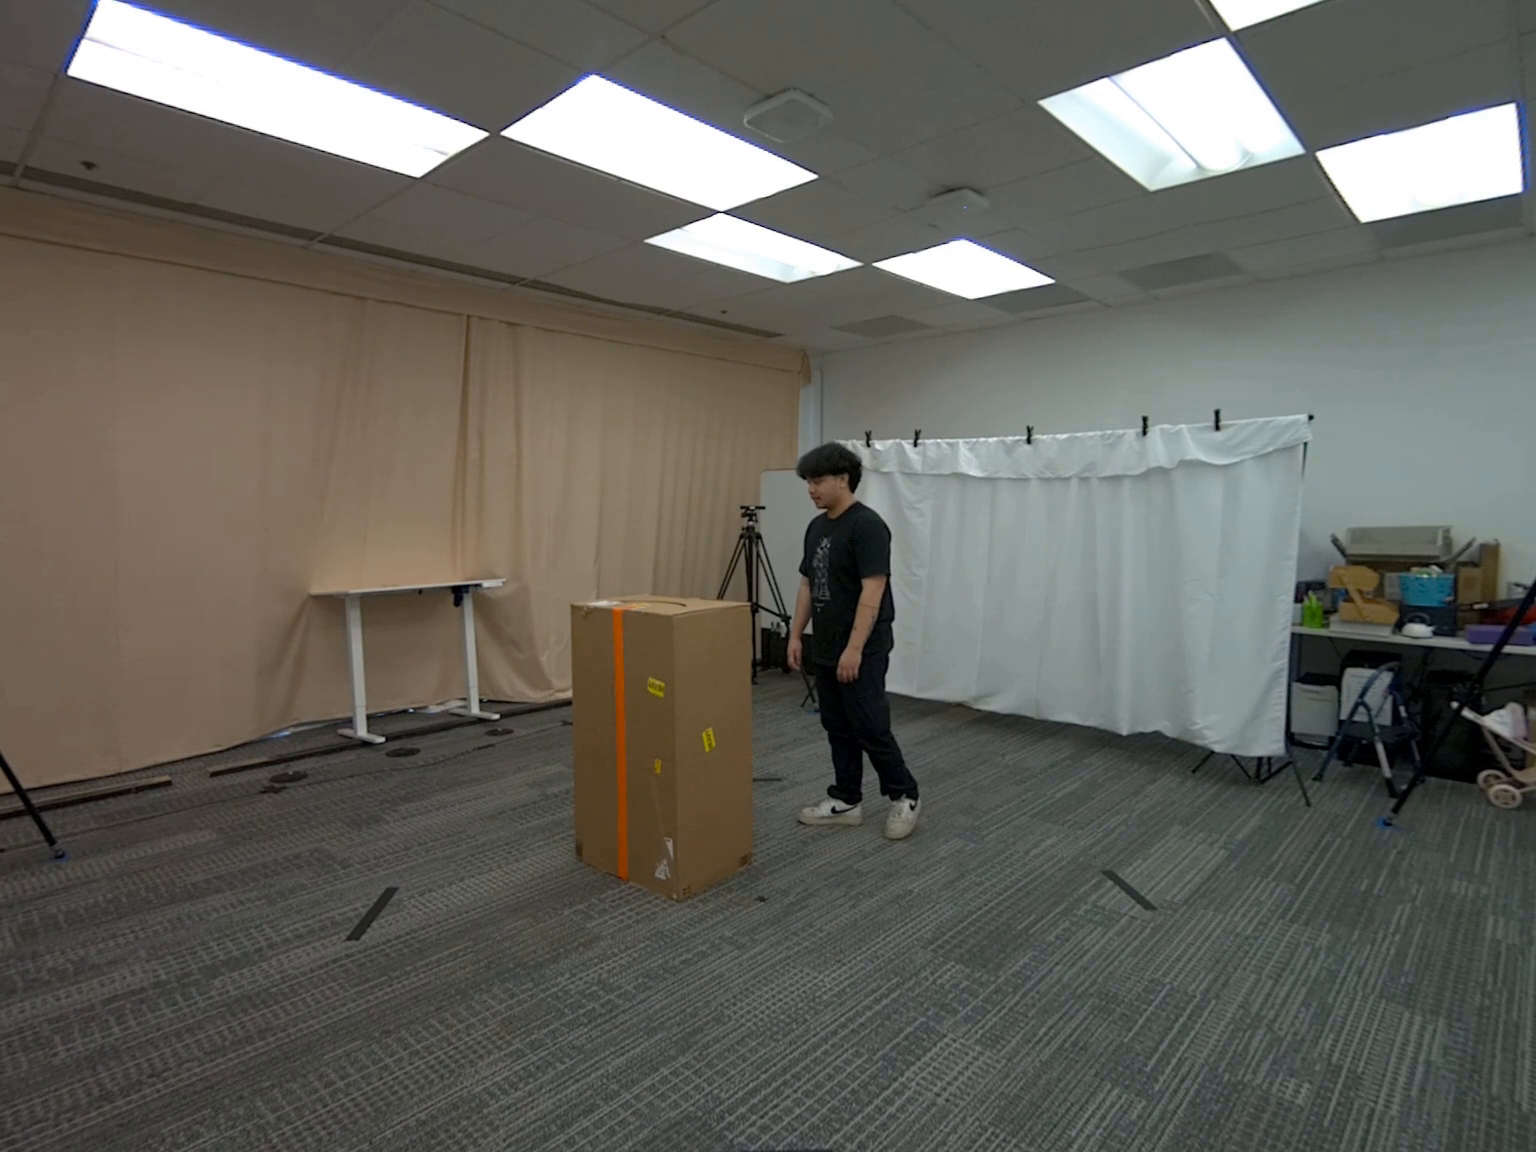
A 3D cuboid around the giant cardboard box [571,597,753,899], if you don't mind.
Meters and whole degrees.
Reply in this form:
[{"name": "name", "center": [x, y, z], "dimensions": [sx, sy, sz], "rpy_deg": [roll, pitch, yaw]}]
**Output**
[{"name": "giant cardboard box", "center": [-0.417, 0.613, 3.282], "dimensions": [0.603, 1.025, 0.433], "rpy_deg": [2, 4, 41]}]
